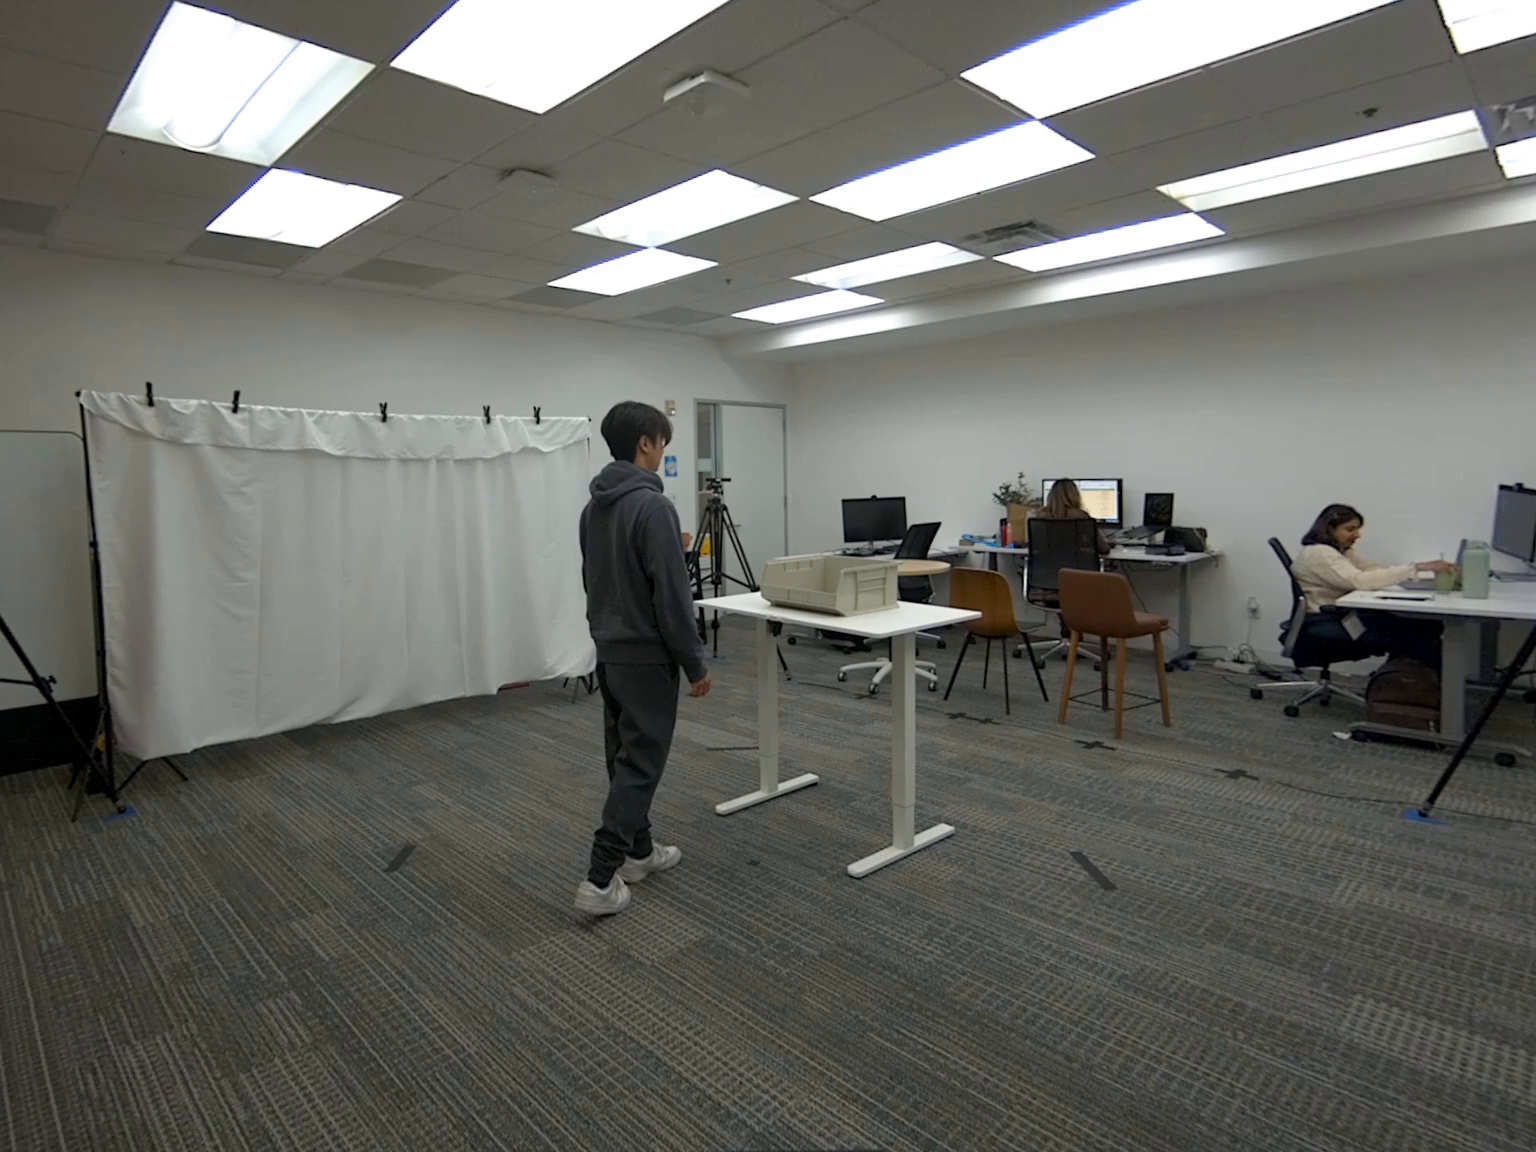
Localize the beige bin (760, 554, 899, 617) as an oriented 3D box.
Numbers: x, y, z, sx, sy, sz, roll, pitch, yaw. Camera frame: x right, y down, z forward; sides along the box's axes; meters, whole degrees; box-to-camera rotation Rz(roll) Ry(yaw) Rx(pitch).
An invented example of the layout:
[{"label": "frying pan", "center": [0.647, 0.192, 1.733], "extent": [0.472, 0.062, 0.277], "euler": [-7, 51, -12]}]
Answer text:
[{"label": "beige bin", "center": [0.250, 0.035, 3.378], "extent": [0.367, 0.188, 0.435], "euler": [-6, 8, -41]}]
